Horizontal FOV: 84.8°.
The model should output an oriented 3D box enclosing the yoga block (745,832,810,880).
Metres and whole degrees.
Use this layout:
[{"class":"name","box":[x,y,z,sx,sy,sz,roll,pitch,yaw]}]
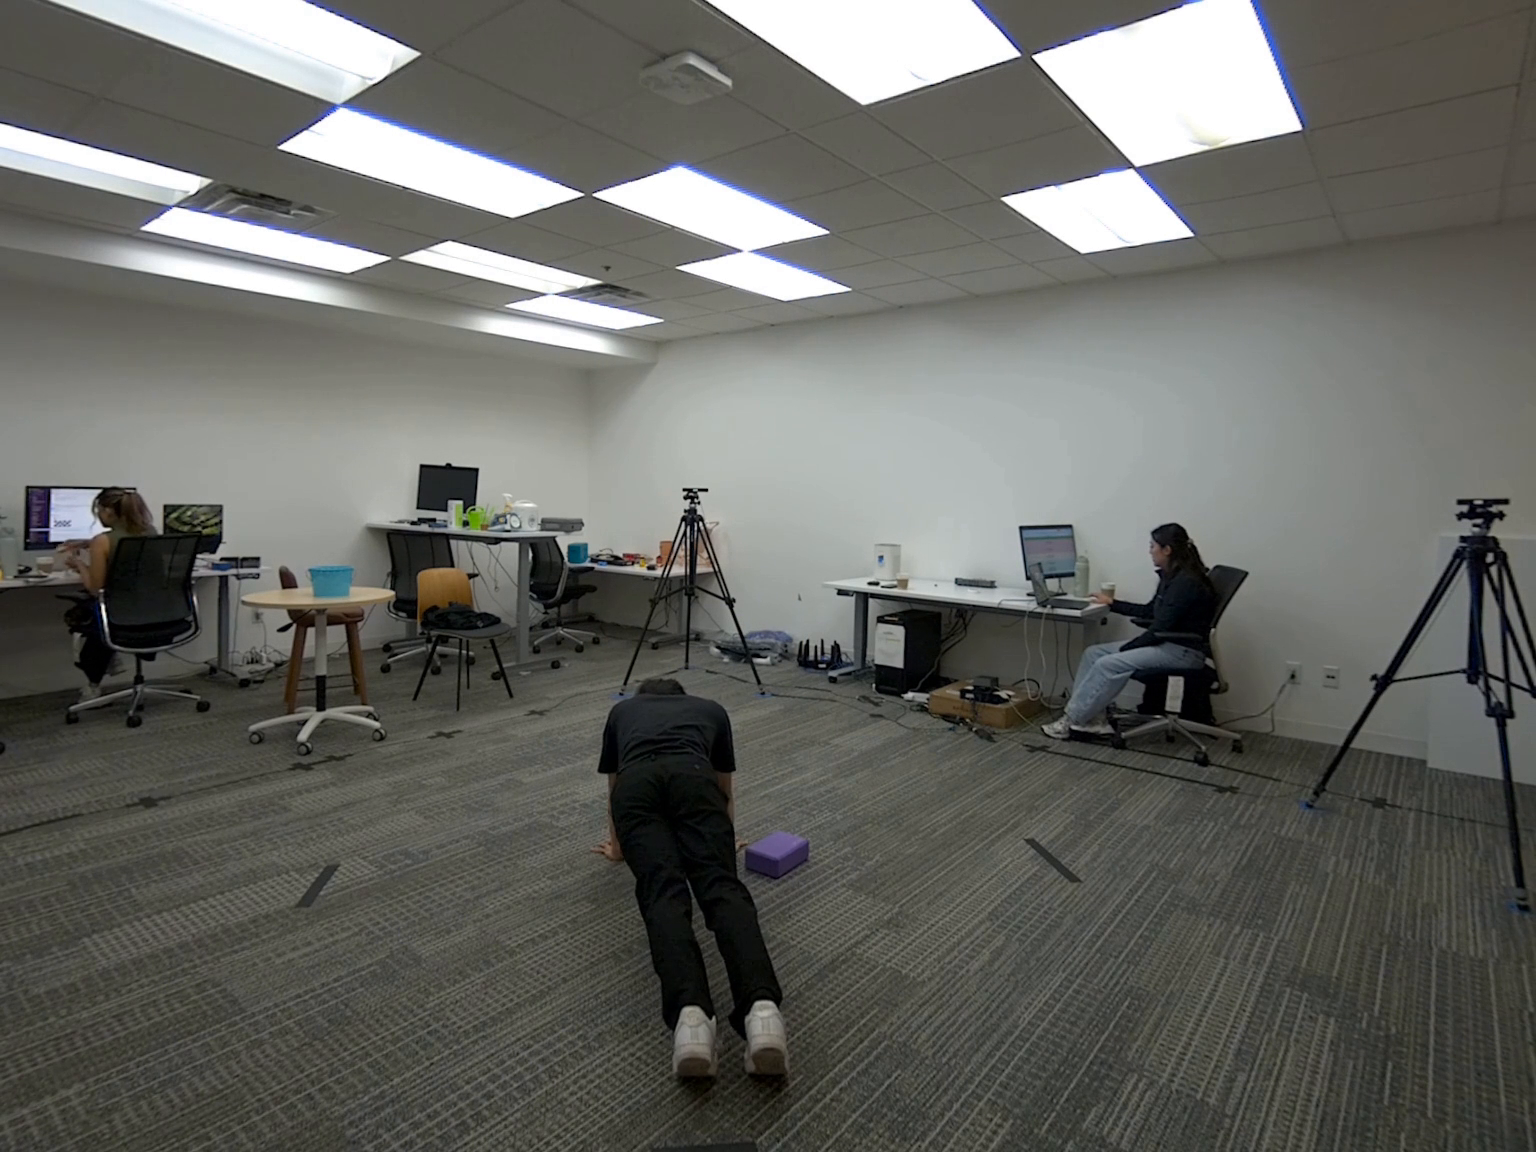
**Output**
[{"class":"yoga block","box":[0.025,1.029,3.168,0.154,0.076,0.223,5,6,34]}]
